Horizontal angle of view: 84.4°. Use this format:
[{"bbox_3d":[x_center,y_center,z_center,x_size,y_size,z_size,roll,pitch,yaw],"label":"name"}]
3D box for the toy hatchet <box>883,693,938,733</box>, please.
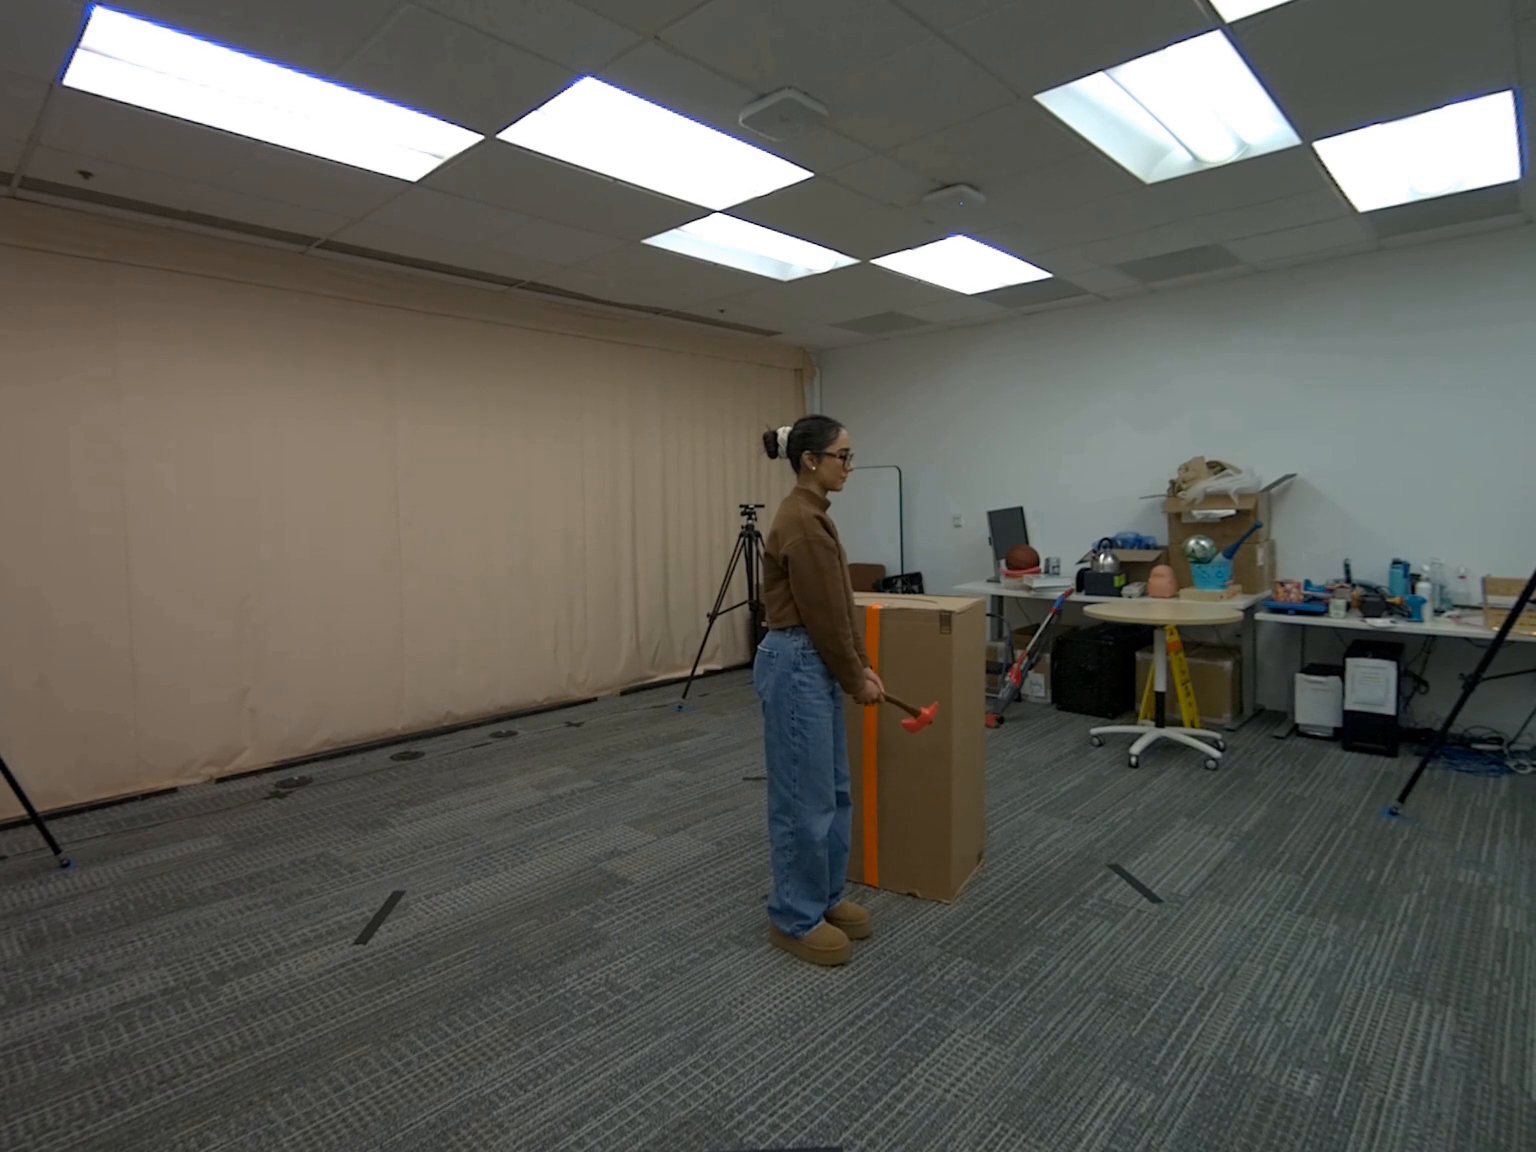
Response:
[{"bbox_3d":[0.390,0.427,2.647,0.270,0.130,0.030,12,25,-1],"label":"toy hatchet"}]
